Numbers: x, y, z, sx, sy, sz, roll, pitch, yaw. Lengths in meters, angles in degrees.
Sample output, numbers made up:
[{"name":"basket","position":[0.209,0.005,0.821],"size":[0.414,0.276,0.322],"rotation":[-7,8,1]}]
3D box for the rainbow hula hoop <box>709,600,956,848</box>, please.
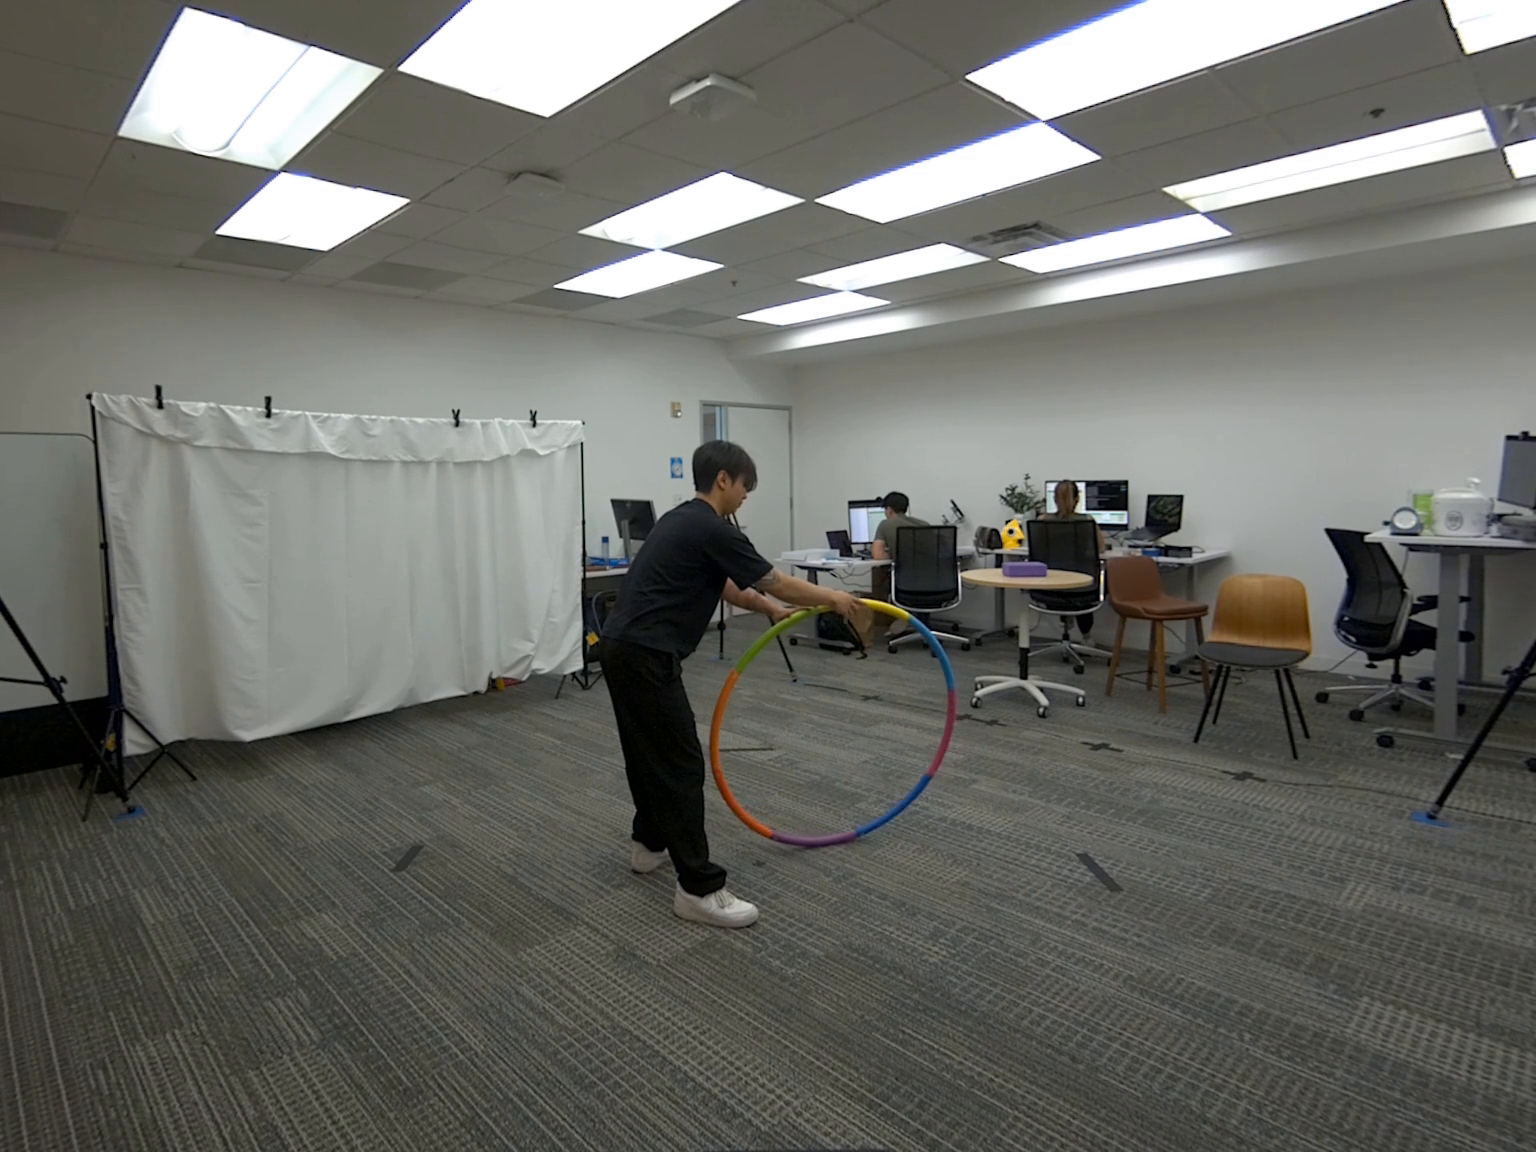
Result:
[{"name":"rainbow hula hoop","position":[0.266,0.558,3.174],"size":[0.963,0.968,0.036],"rotation":[-2,13,-17]}]
